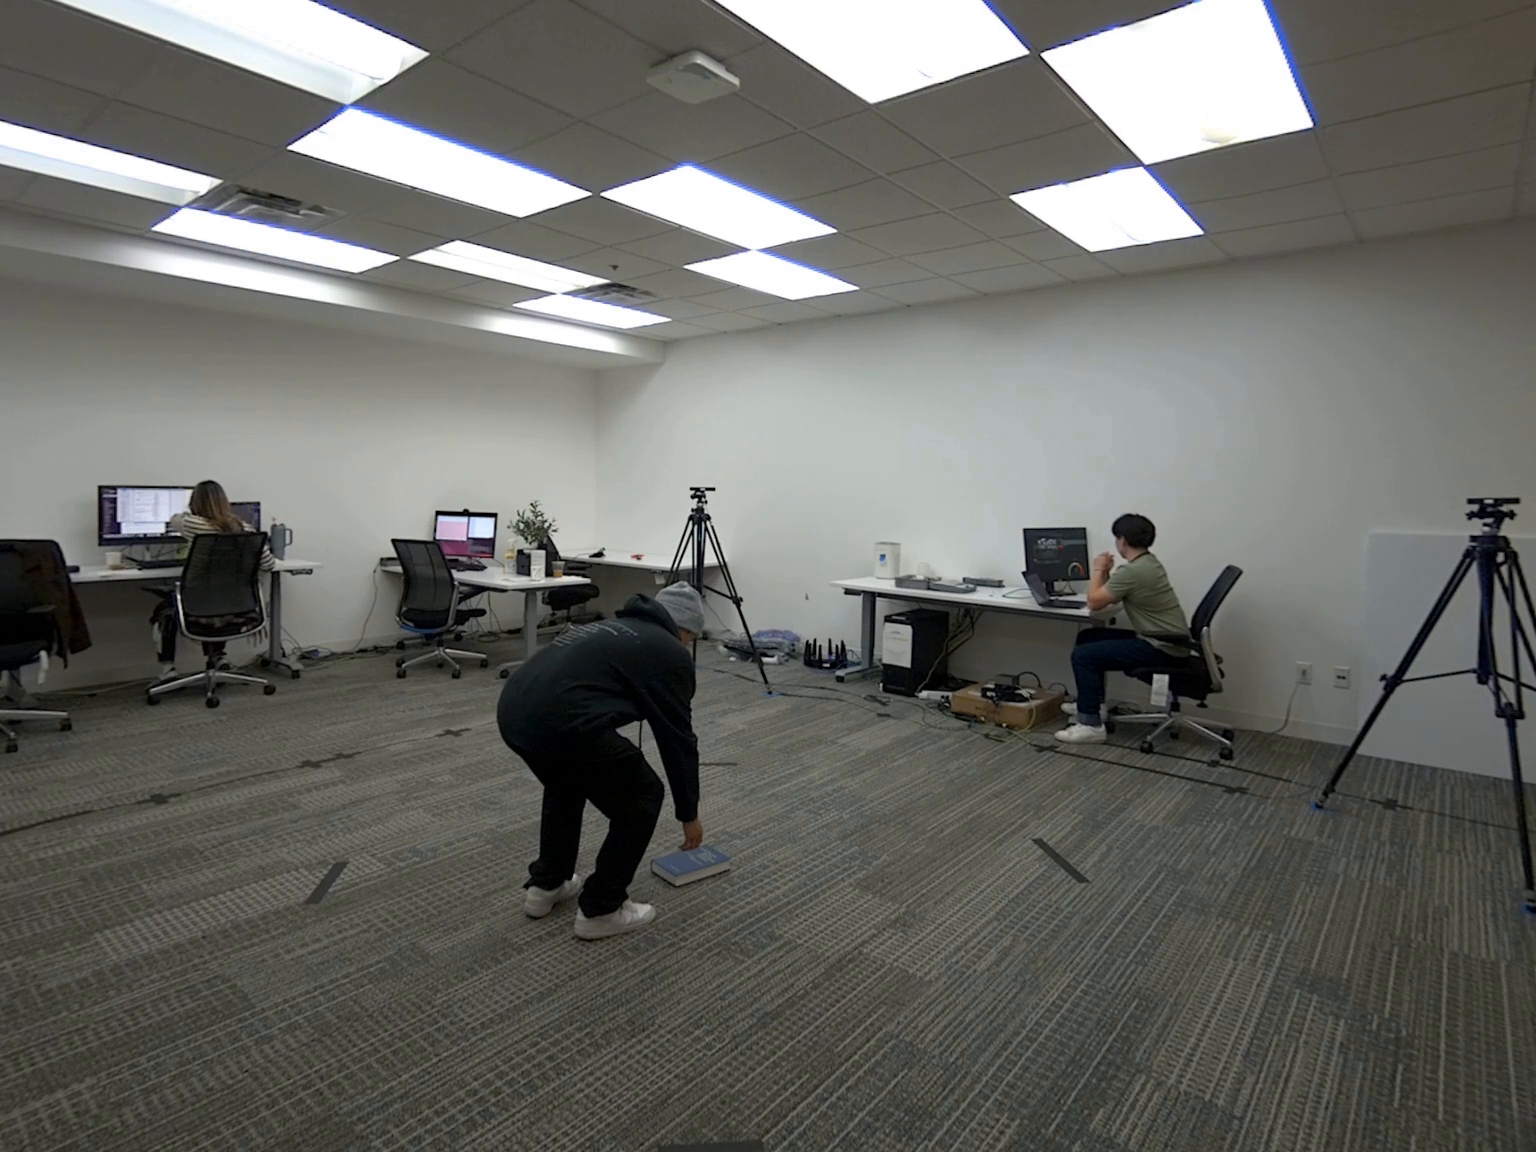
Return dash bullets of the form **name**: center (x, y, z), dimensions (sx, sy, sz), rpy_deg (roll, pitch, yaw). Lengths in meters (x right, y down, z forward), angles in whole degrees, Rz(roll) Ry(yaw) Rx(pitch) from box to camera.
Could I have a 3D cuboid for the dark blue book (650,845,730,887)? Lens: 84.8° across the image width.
- **dark blue book**: center (-0.287, 1.042, 3.082), dimensions (0.238, 0.045, 0.169), rpy_deg (-4, 7, -39)
